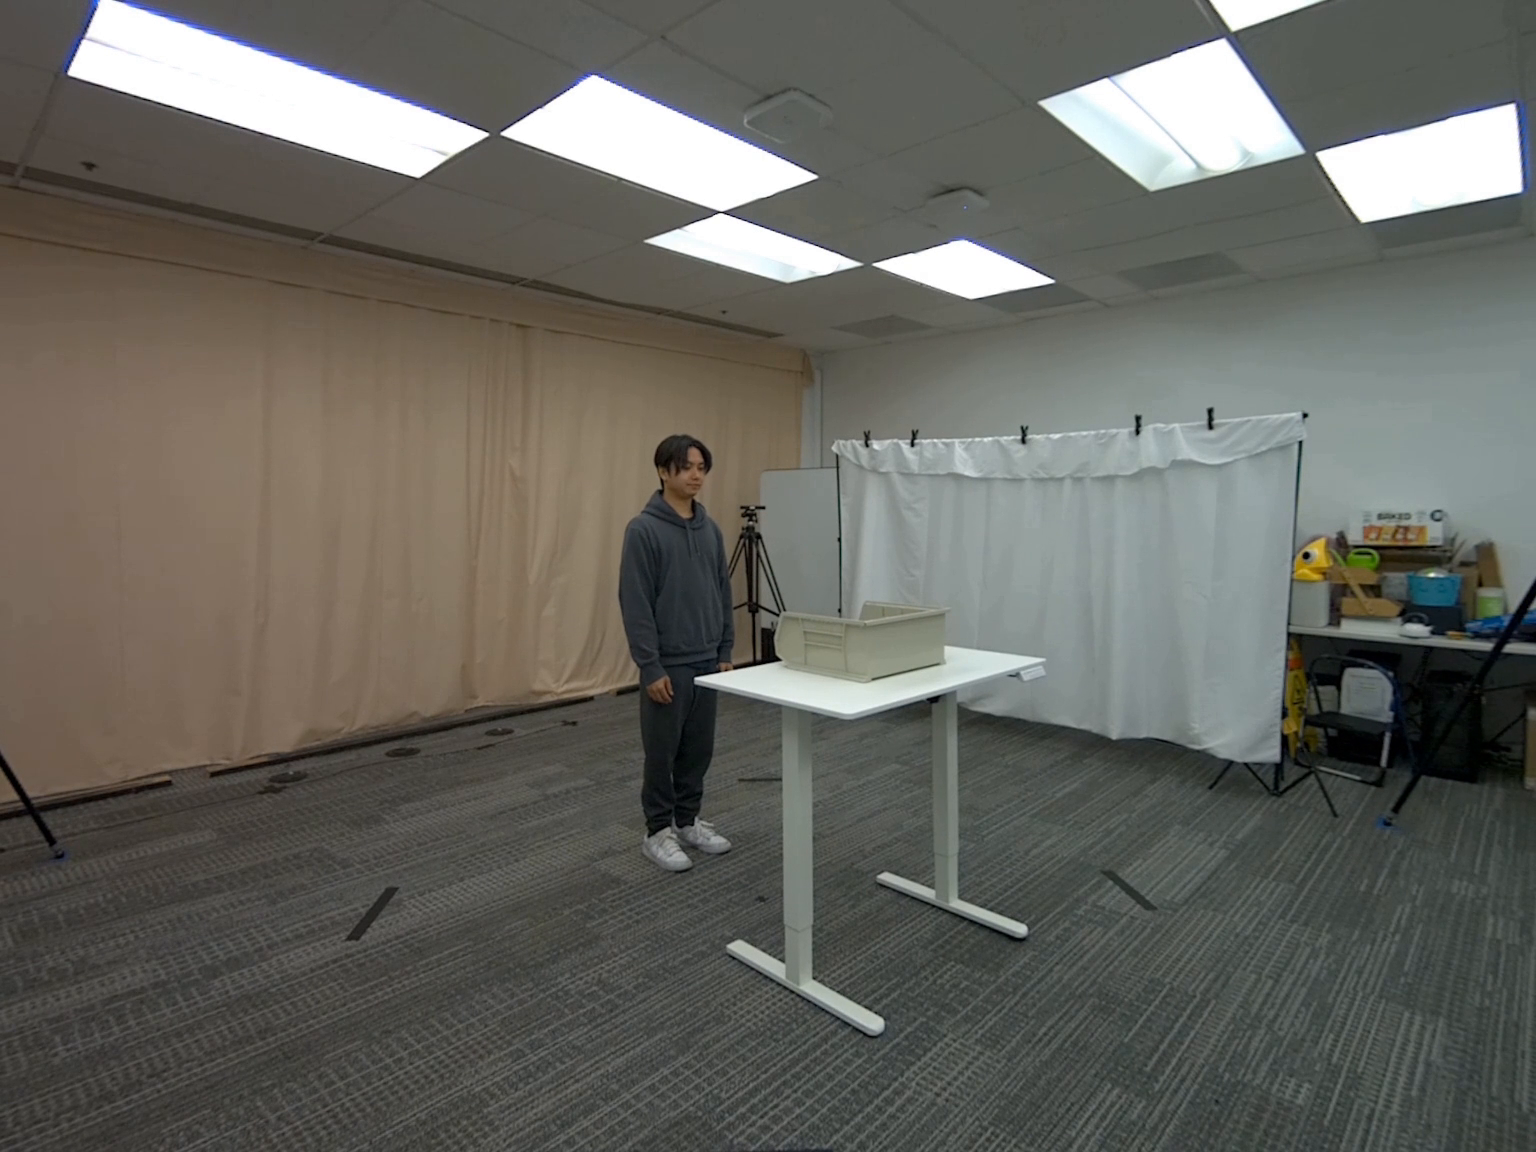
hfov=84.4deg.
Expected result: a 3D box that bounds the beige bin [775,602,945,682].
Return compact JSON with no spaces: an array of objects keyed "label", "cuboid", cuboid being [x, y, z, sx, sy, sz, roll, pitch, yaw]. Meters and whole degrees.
[{"label":"beige bin","cuboid":[0.304,0.199,2.673,0.409,0.188,0.390,-5,7,-43]}]
